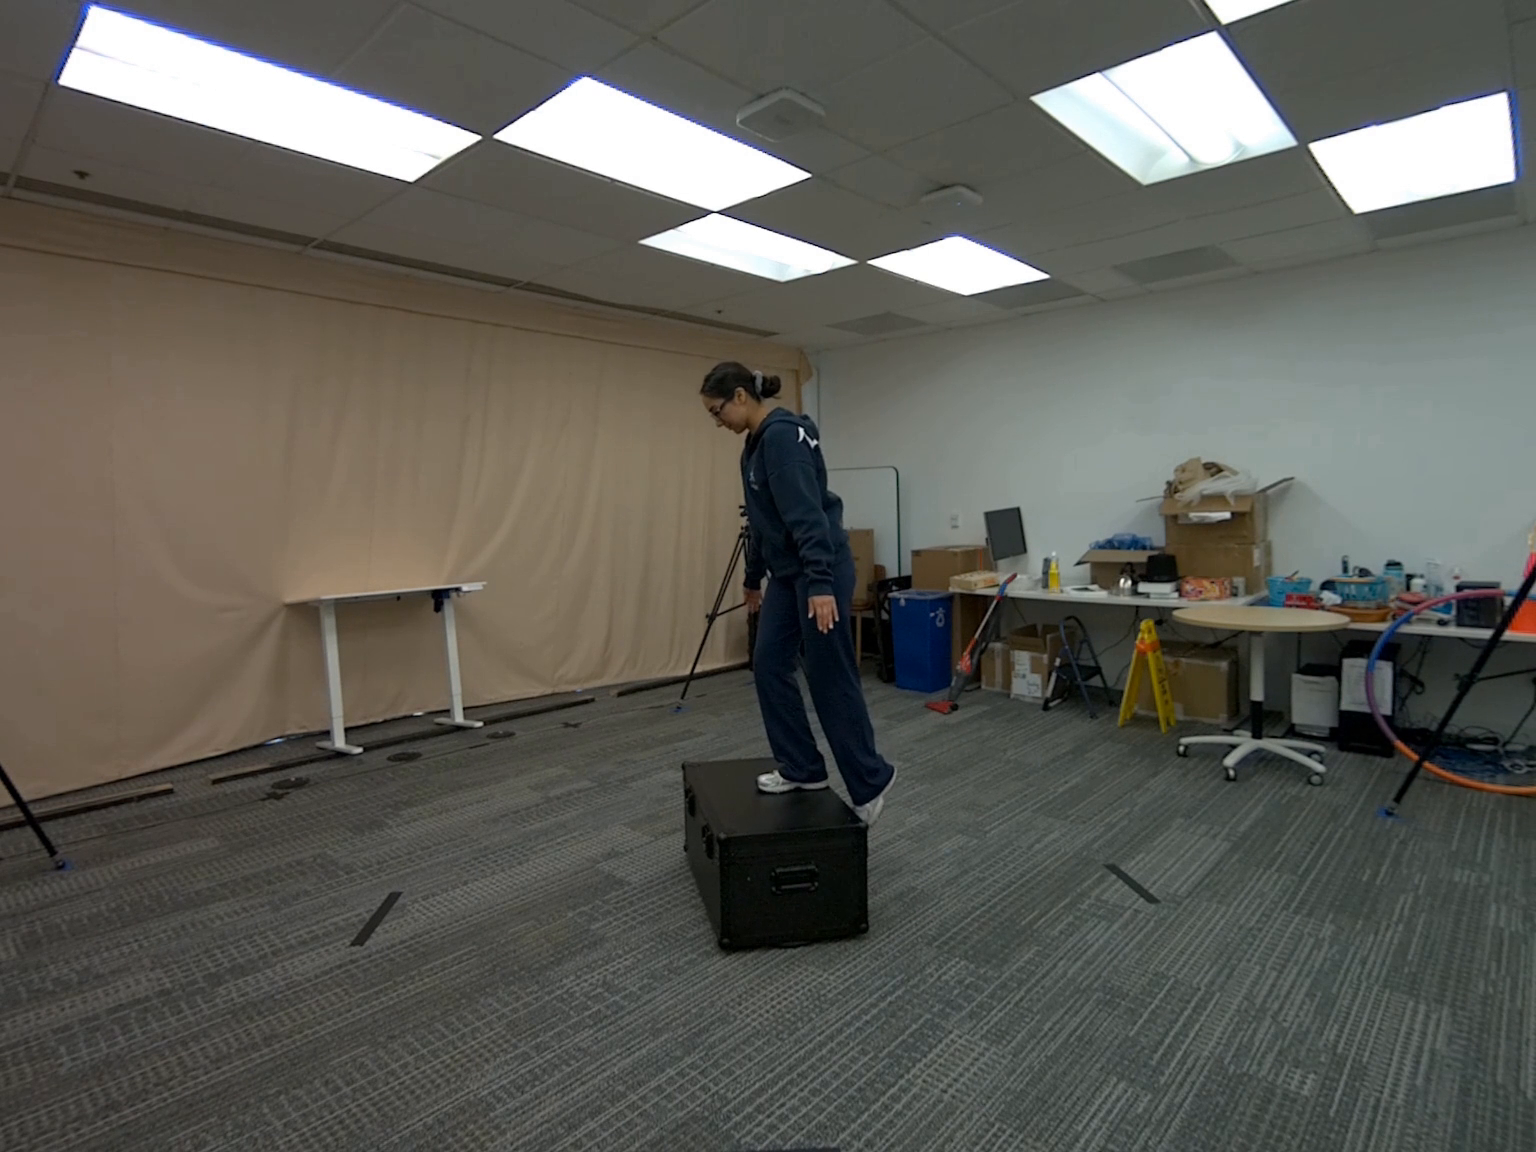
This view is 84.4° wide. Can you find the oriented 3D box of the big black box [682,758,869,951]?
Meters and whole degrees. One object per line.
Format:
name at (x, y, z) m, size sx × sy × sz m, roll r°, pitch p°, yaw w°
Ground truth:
big black box at (-0.014, 0.946, 3.044) m, size 0.514 × 0.395 × 0.875 m, roll -2°, pitch 5°, yaw -13°
